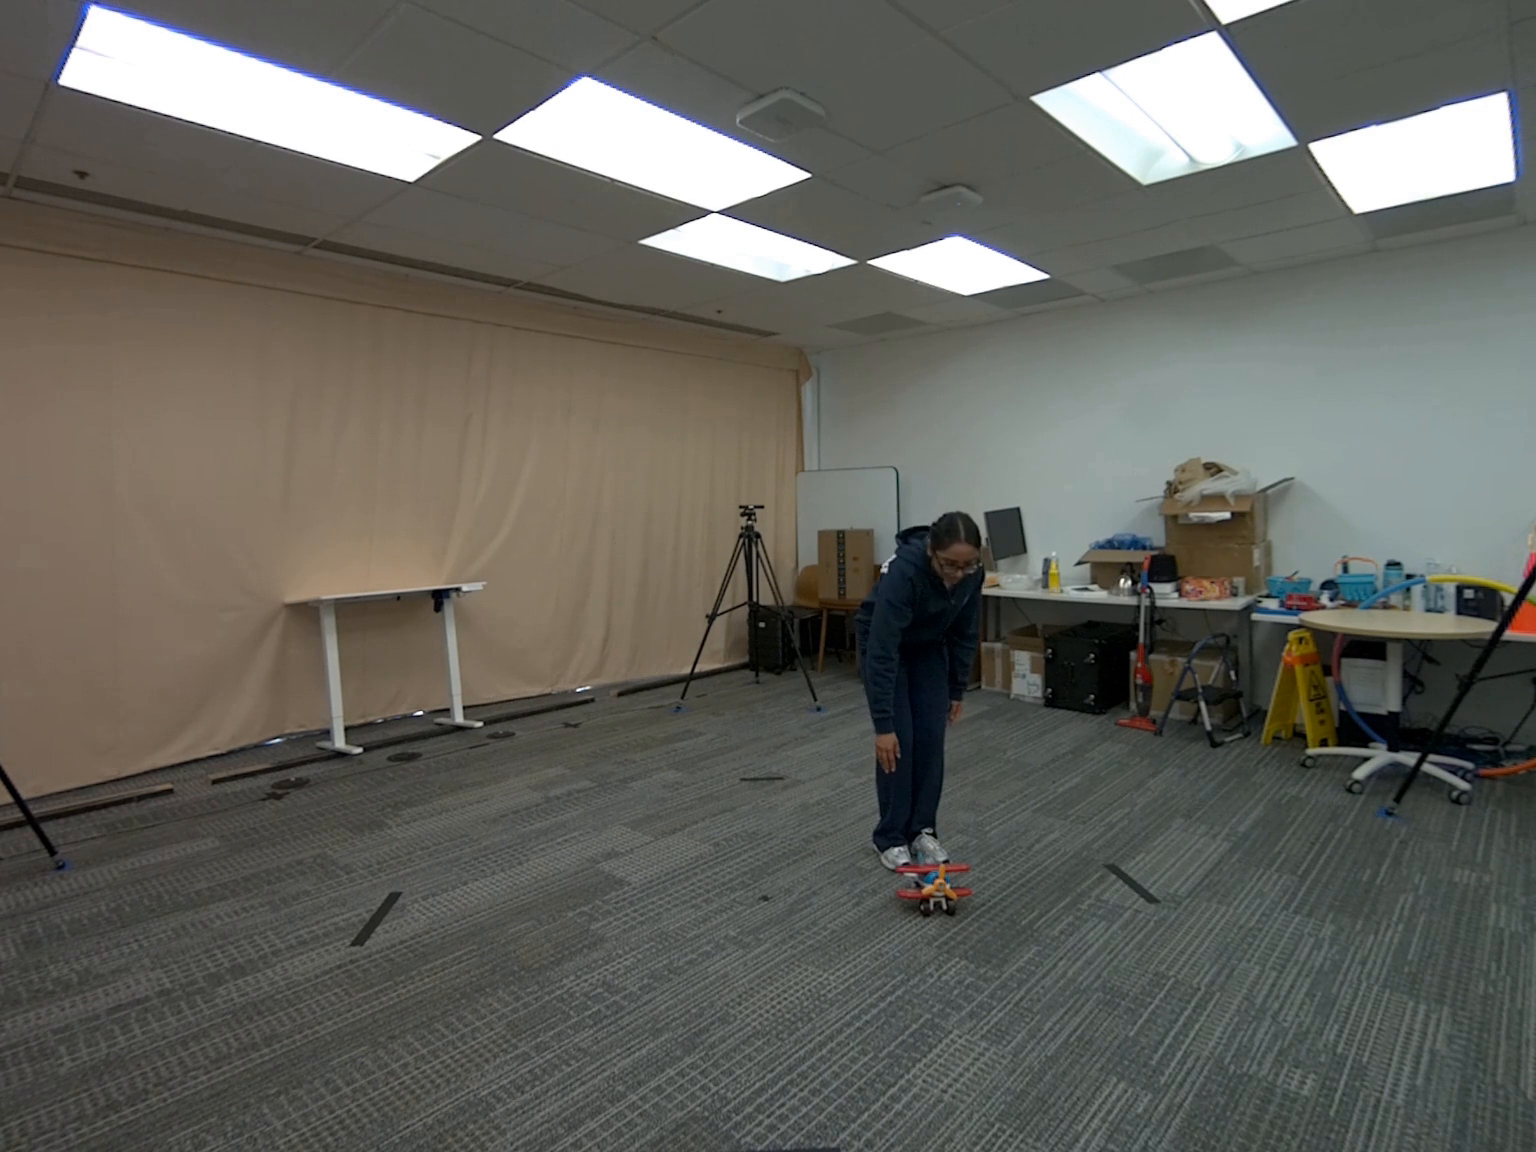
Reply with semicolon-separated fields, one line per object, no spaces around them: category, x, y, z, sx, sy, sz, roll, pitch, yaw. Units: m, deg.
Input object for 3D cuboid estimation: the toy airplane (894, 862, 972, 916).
toy airplane;0.545;1.053;2.922;0.244;0.156;0.267;-3;5;-30
